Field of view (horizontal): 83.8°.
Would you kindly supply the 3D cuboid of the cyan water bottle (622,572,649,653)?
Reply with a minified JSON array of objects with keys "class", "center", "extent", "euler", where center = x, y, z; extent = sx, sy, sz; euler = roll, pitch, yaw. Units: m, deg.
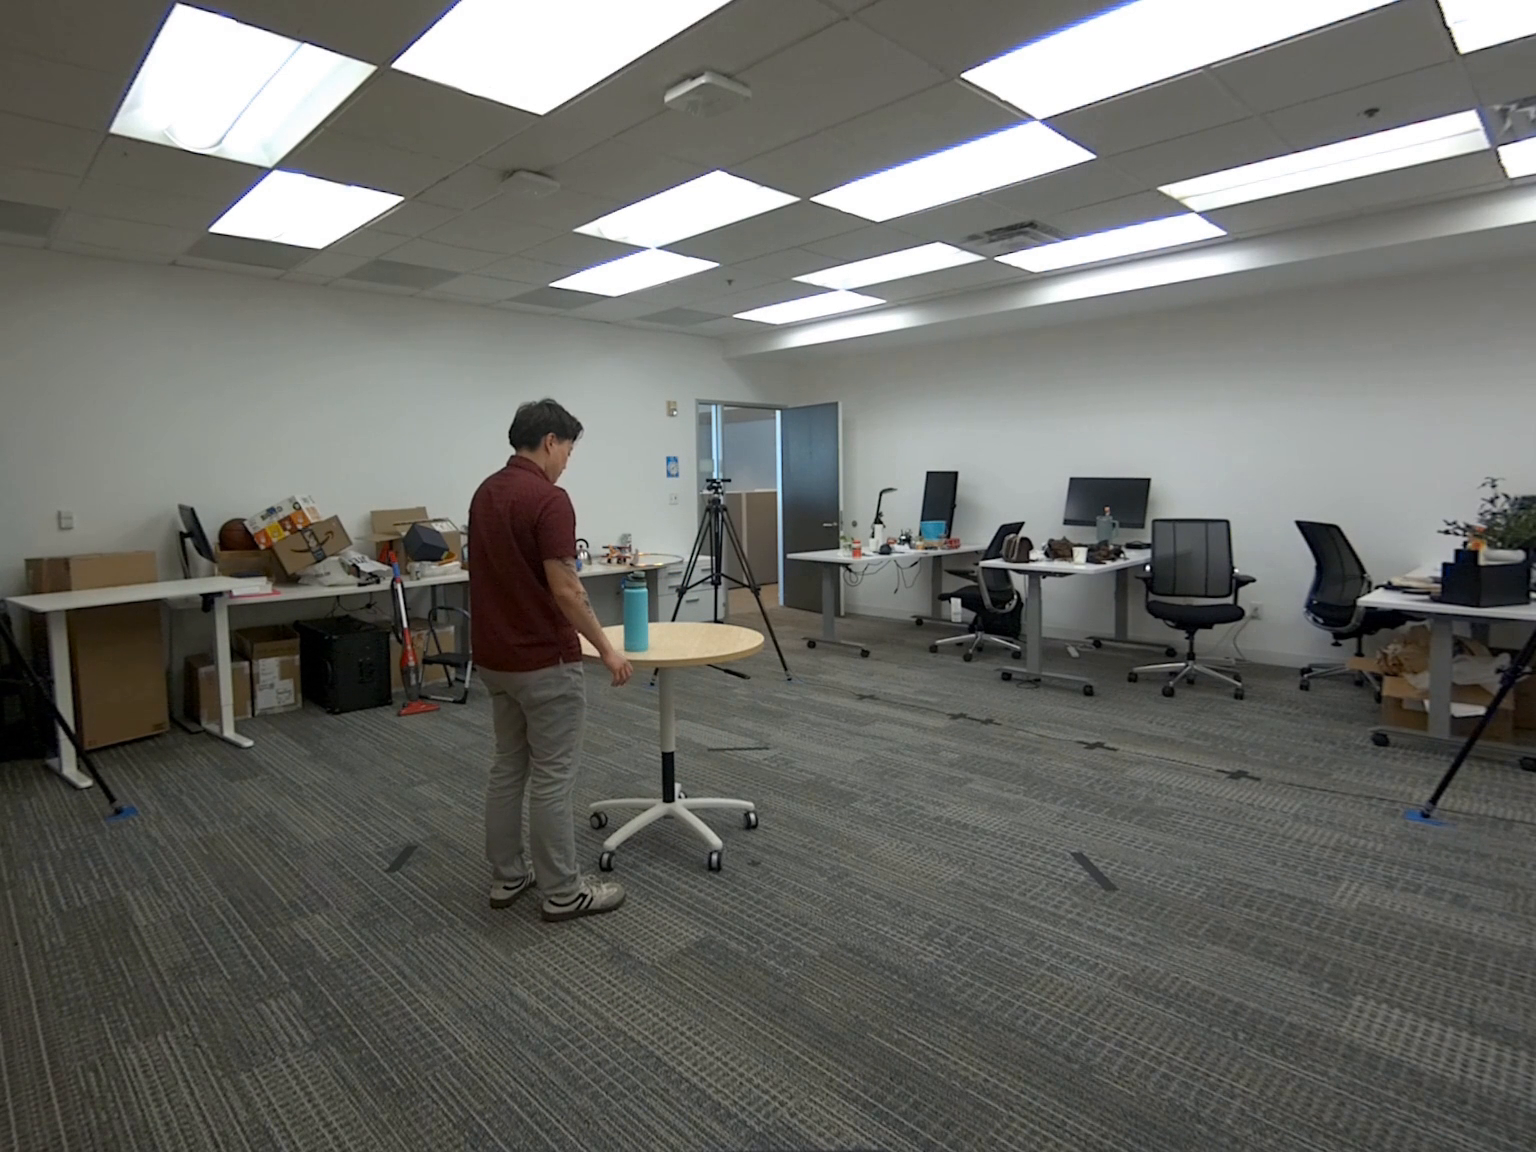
[{"class":"cyan water bottle","center":[-0.483,0.129,3.102],"extent":[0.092,0.282,0.093],"euler":[-1,4,-2]}]
